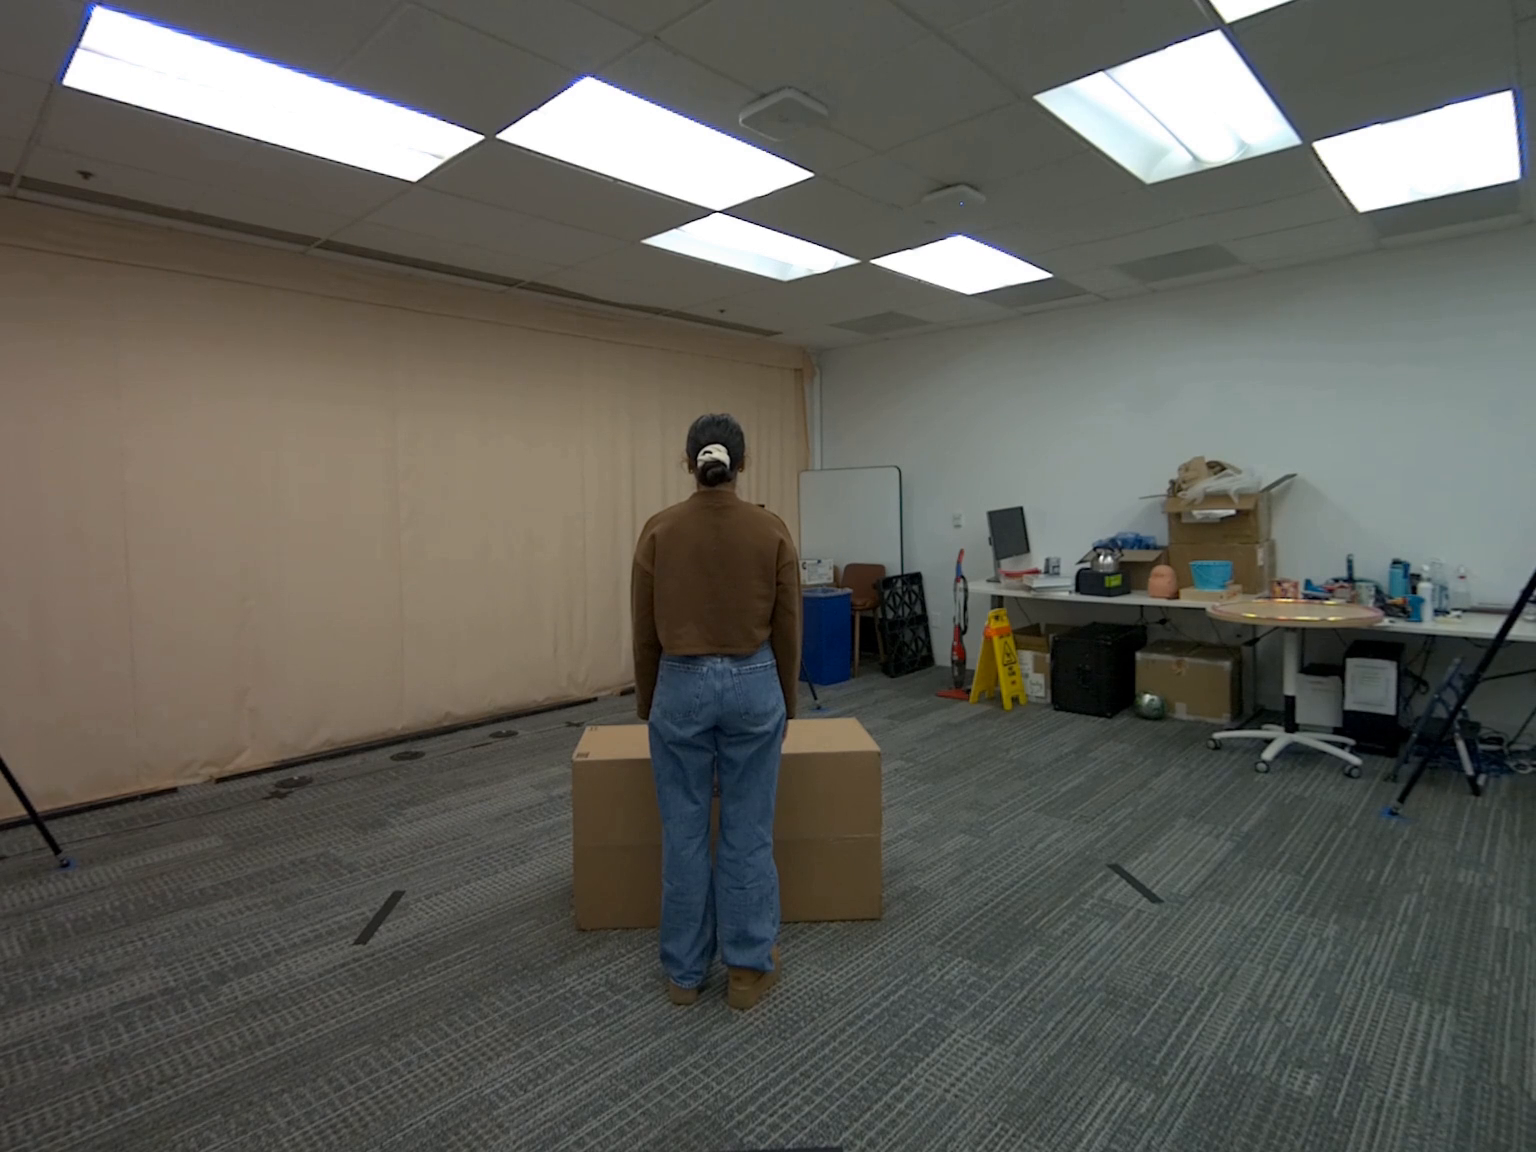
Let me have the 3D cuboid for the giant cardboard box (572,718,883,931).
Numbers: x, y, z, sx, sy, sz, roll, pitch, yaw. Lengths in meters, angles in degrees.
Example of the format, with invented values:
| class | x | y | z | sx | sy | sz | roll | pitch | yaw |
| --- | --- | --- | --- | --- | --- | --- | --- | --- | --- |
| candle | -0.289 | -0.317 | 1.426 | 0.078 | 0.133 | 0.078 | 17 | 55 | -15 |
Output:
| class | x | y | z | sx | sy | sz | roll | pitch | yaw |
| --- | --- | --- | --- | --- | --- | --- | --- | --- | --- |
| giant cardboard box | -0.150 | 0.855 | 2.990 | 1.023 | 0.576 | 0.428 | -1 | 3 | -2 |
